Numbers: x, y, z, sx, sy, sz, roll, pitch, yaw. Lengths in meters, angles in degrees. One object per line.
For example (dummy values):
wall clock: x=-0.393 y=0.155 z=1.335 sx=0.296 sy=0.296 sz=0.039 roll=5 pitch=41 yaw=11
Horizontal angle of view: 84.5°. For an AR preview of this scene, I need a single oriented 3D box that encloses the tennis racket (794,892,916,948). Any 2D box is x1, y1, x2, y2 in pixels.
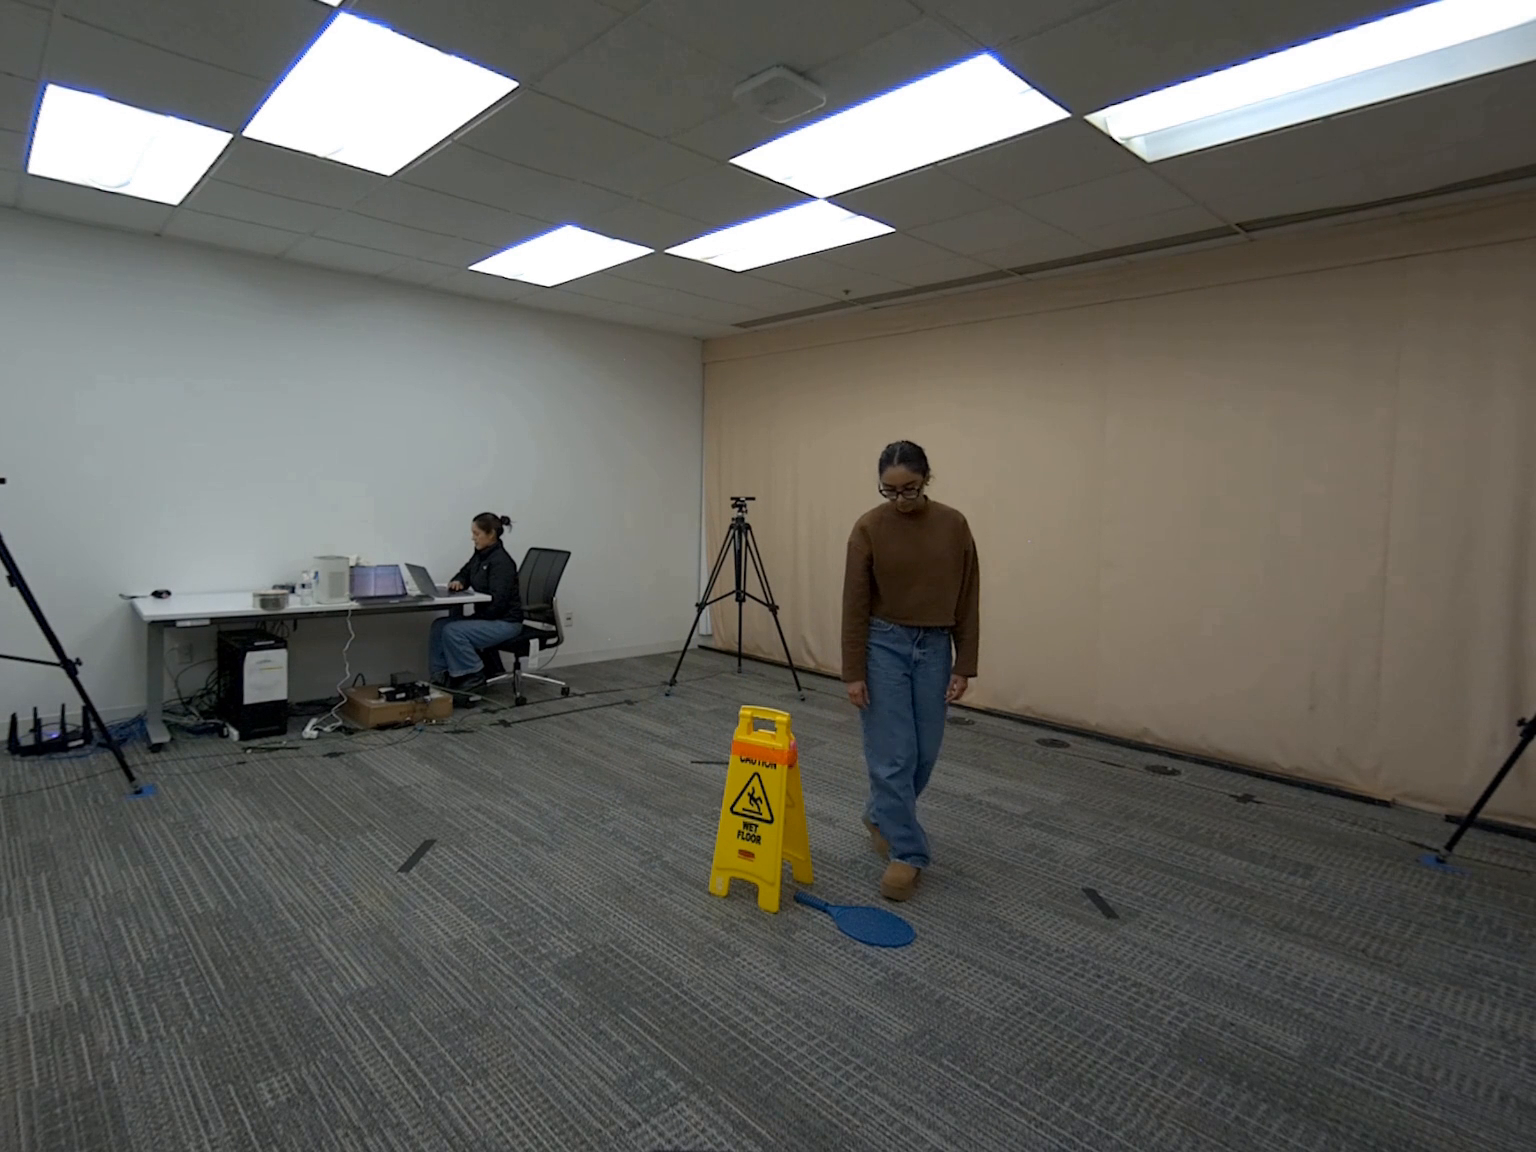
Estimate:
tennis racket: x=0.268 y=1.129 z=2.799 sx=0.444 sy=0.031 sz=0.209 roll=7 pitch=8 yaw=35
